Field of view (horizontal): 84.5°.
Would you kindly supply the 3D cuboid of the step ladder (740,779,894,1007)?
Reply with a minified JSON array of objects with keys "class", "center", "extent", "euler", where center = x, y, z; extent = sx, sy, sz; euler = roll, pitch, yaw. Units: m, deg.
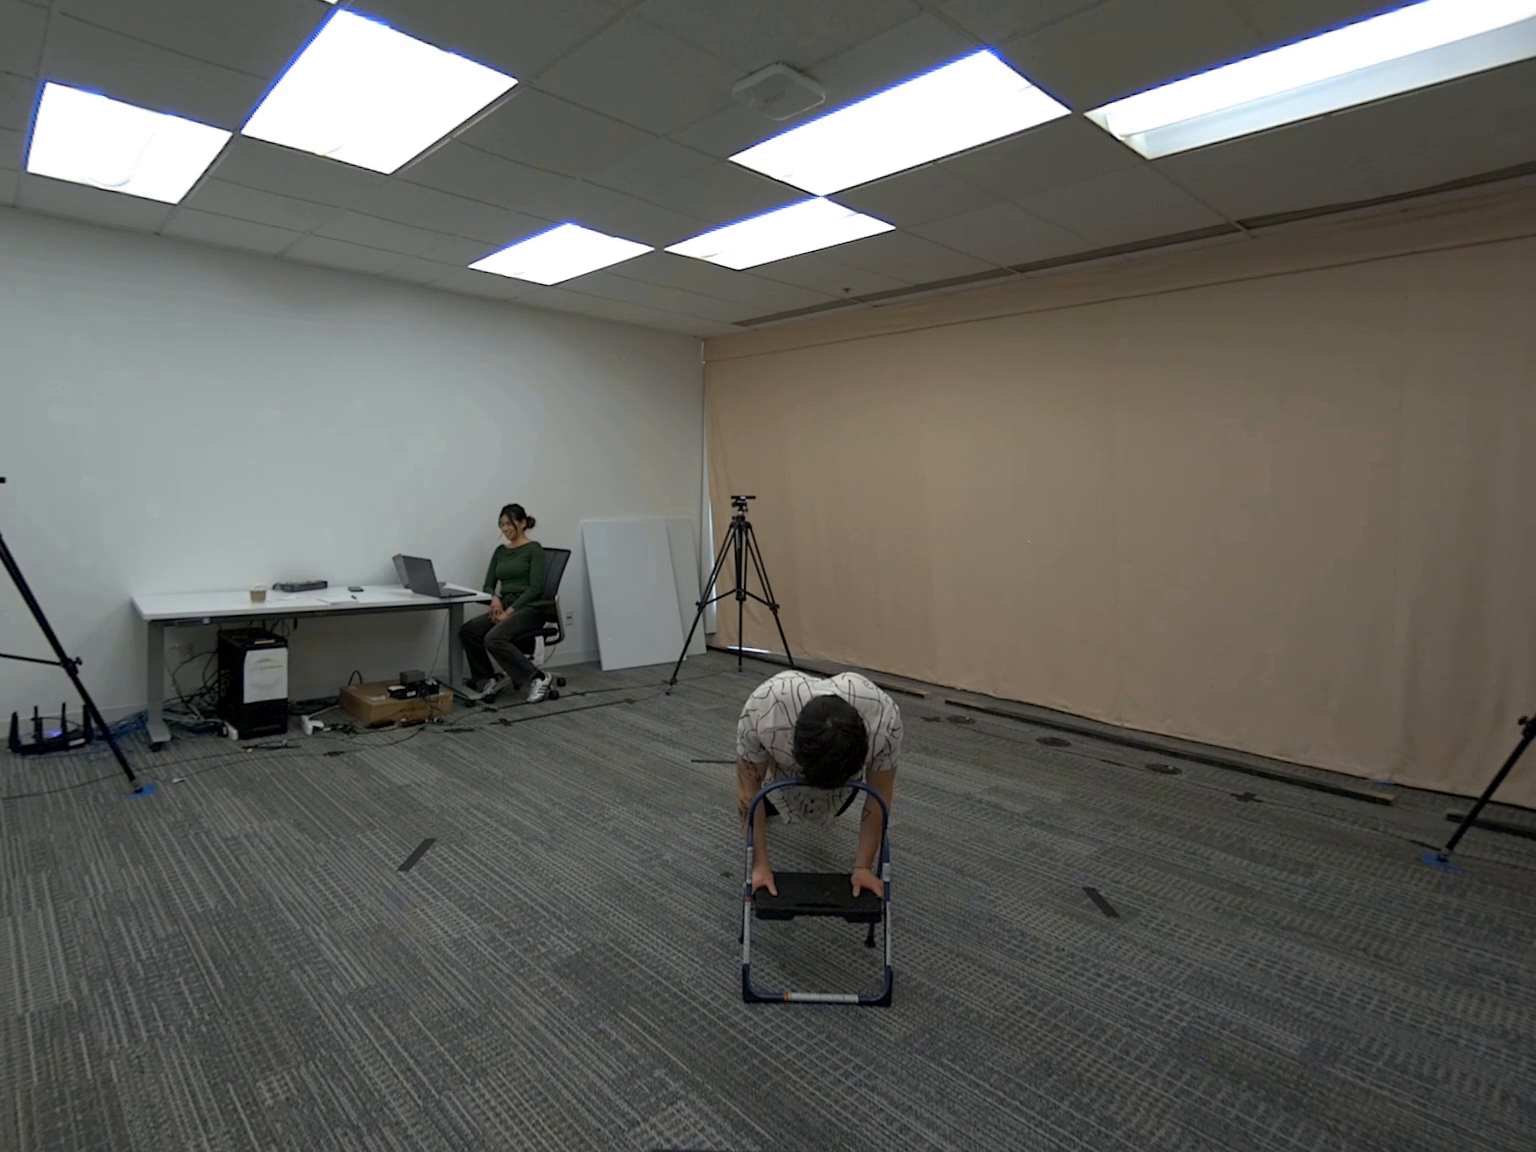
[{"class":"step ladder","center":[0.129,0.872,2.465],"extent":[0.430,0.605,0.350],"euler":[1,3,-2]}]
